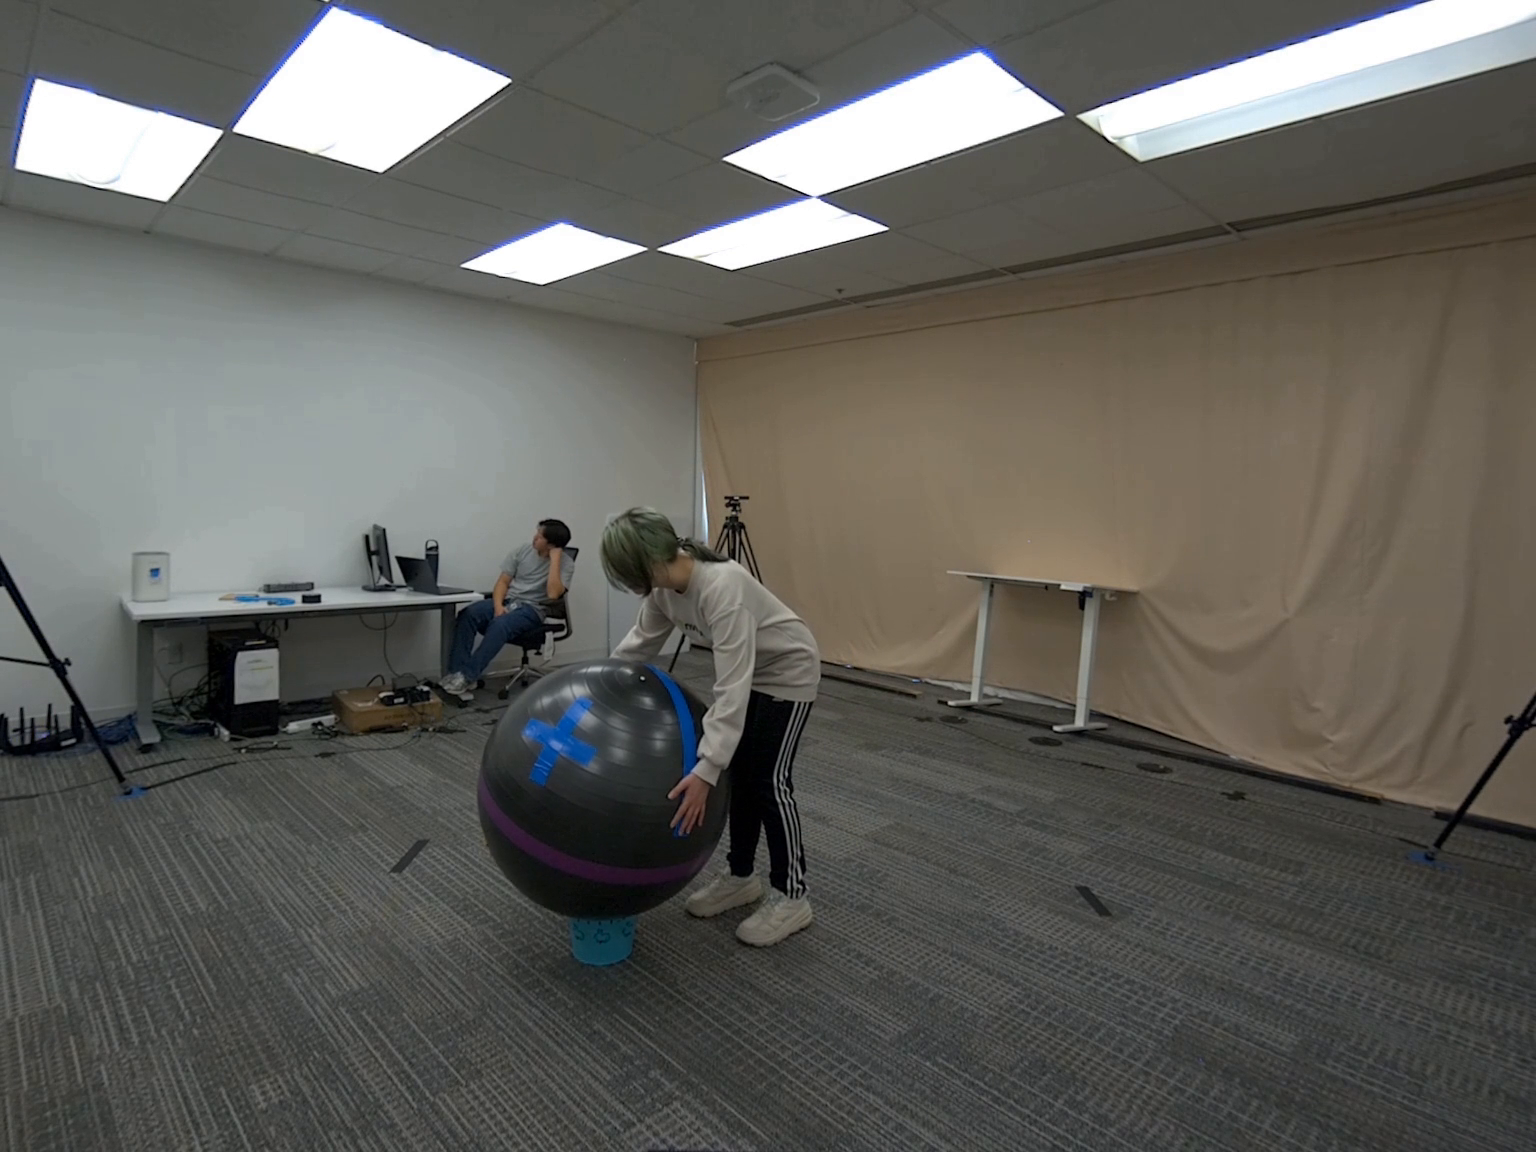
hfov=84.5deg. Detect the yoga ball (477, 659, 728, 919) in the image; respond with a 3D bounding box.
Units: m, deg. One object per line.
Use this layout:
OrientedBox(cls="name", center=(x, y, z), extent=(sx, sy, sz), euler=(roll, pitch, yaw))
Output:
OrientedBox(cls="yoga ball", center=(-0.488, 0.636, 2.552), extent=(0.757, 0.756, 0.761), euler=(1, 4, -1))
